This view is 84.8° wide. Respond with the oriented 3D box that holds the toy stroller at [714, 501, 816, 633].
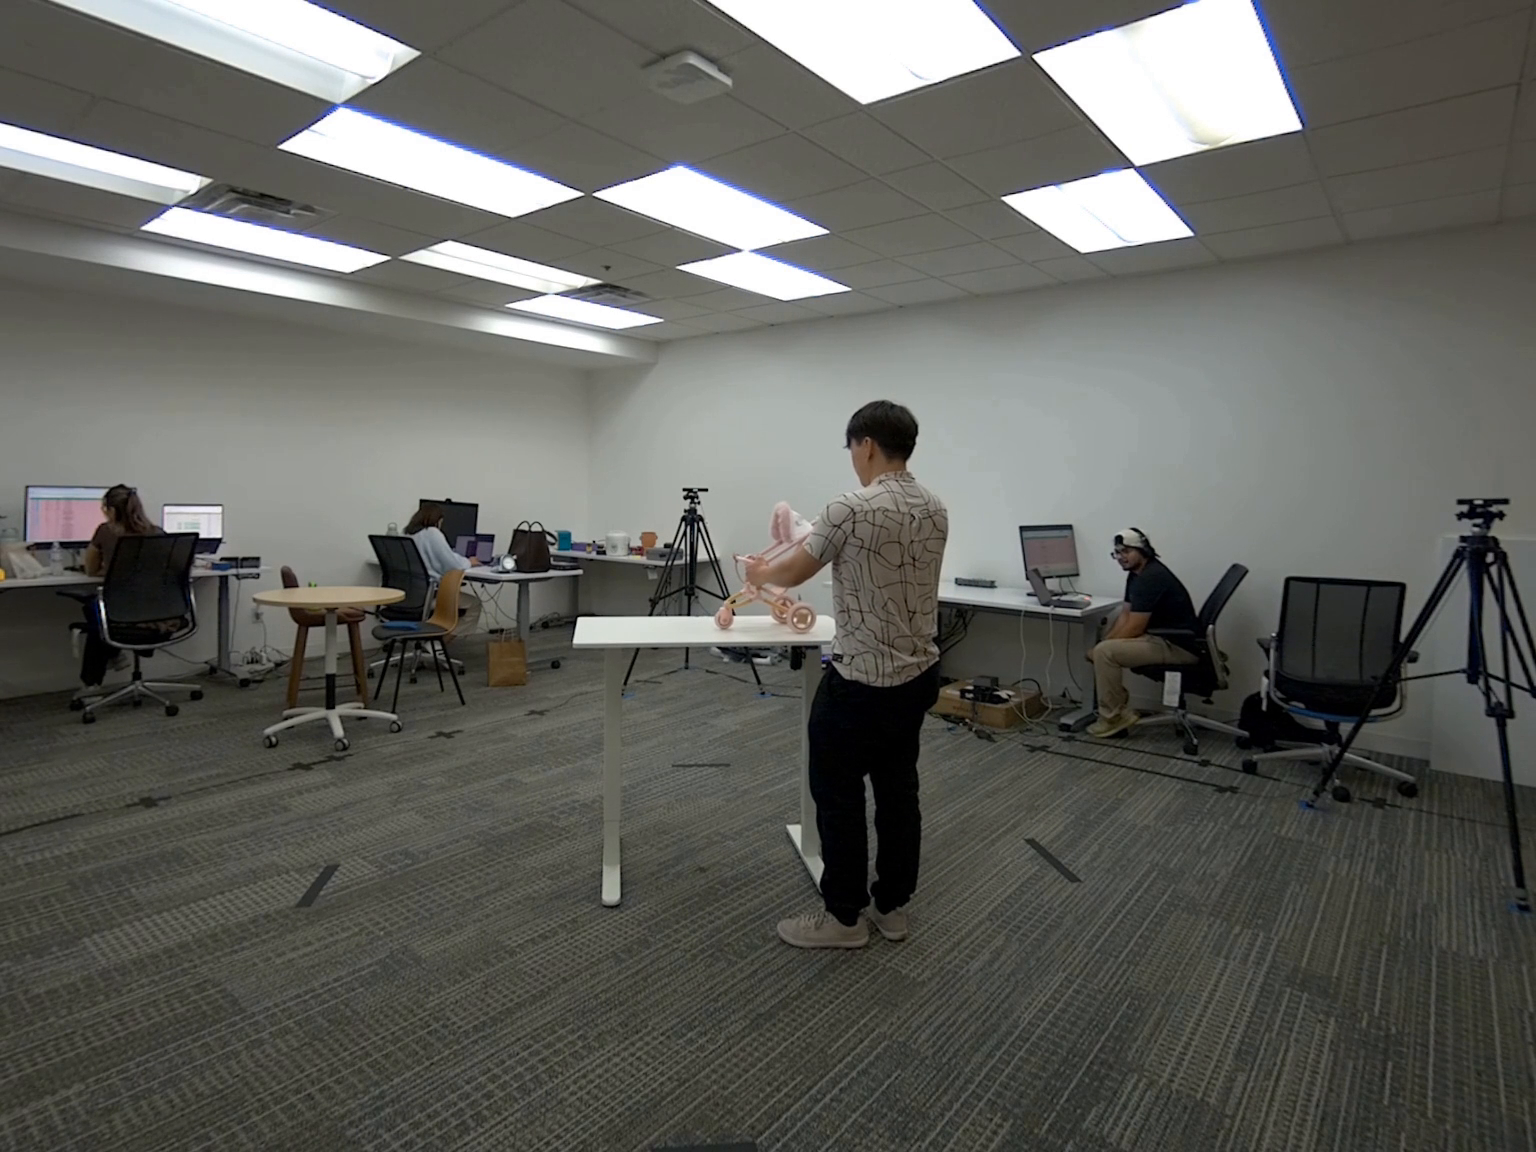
[{"bbox_3d":[0.016,-0.033,3.104,0.338,0.535,0.284,16,1,-8],"label":"toy stroller"}]
